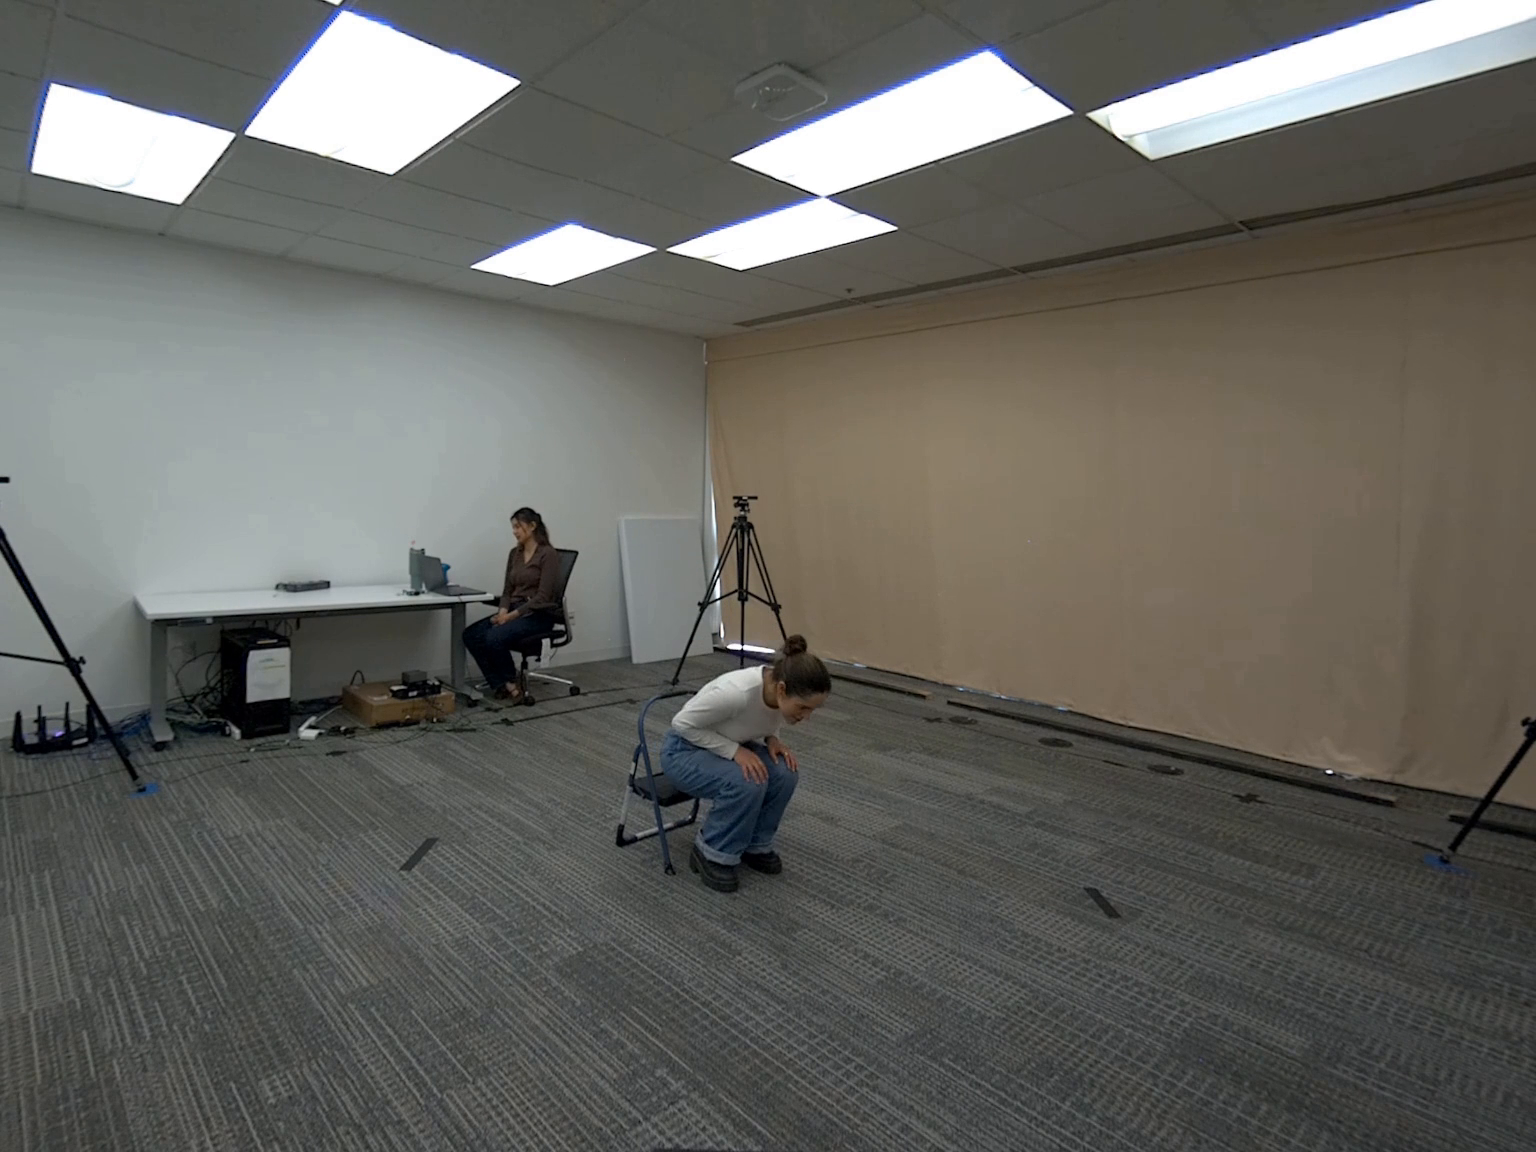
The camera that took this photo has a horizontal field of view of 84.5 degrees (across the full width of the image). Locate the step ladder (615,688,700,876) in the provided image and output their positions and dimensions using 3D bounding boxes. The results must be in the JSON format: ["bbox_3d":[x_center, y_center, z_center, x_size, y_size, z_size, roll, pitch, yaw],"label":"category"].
[{"bbox_3d":[-0.342,0.773,3.346,0.358,0.604,0.421,5,5,44],"label":"step ladder"}]
